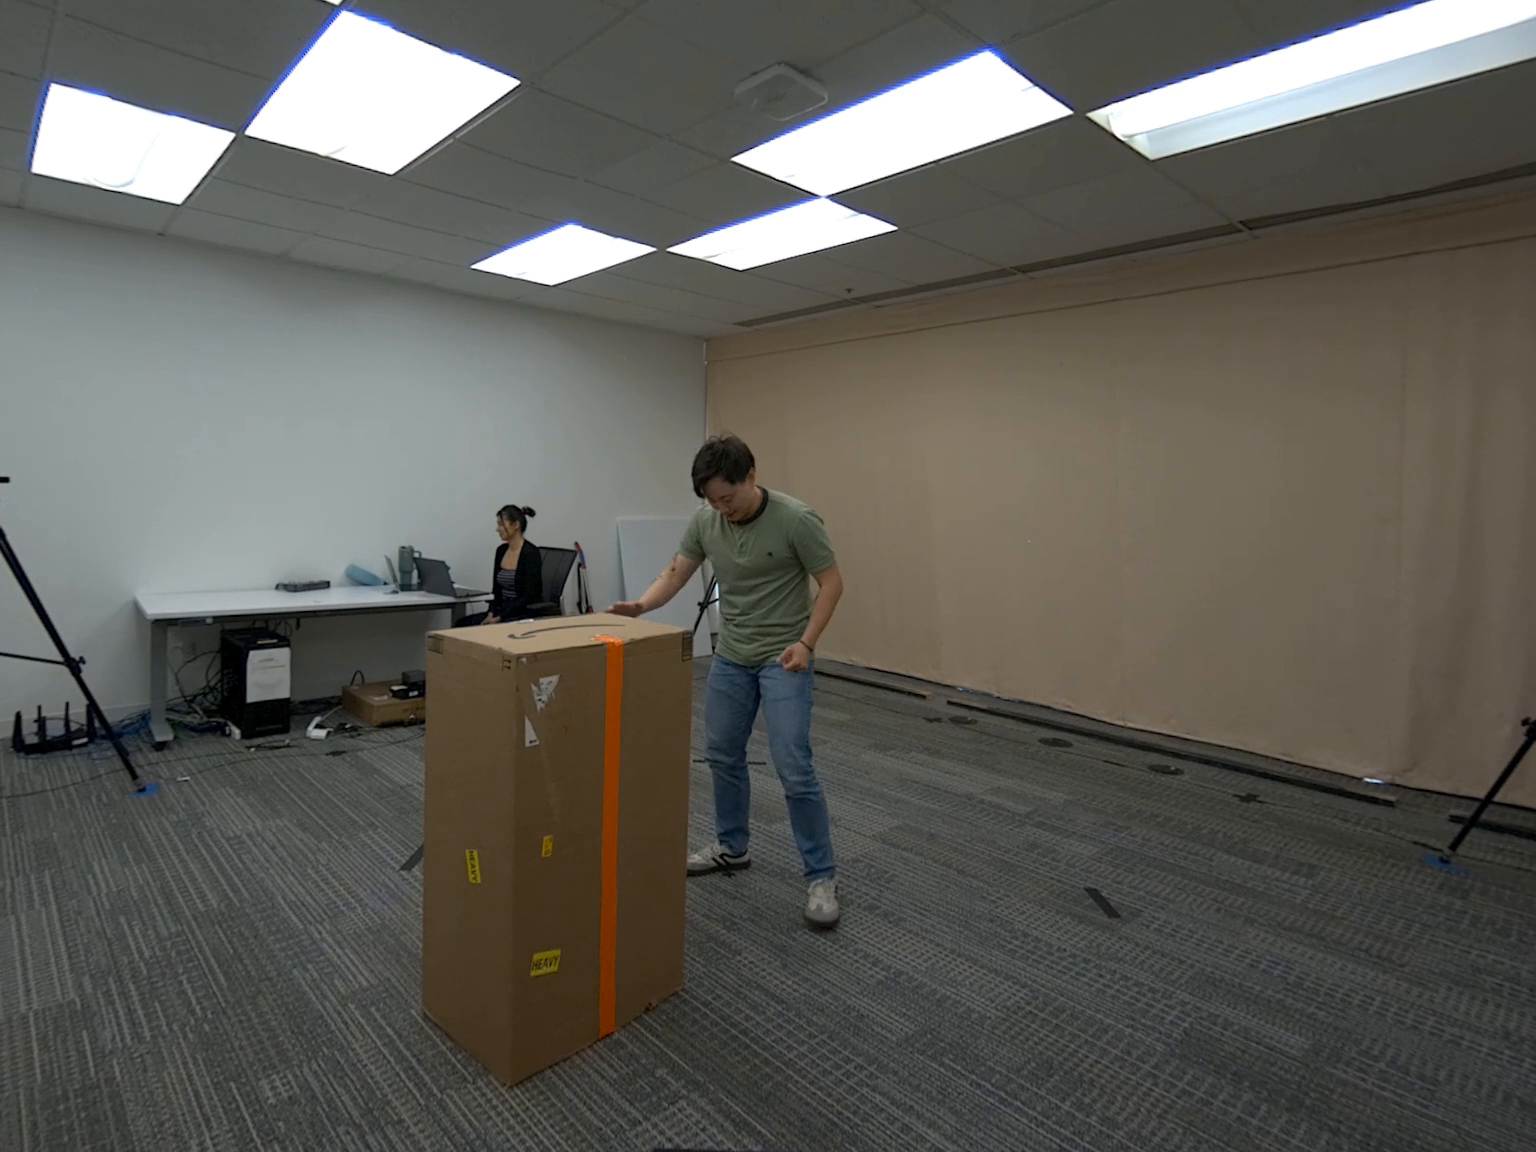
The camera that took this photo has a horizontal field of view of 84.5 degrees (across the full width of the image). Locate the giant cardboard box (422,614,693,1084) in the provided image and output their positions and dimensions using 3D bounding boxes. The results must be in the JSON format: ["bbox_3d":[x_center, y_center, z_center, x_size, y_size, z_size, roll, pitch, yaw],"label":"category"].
[{"bbox_3d":[-0.568,0.661,2.278,0.437,1.023,0.564,5,5,41],"label":"giant cardboard box"}]
